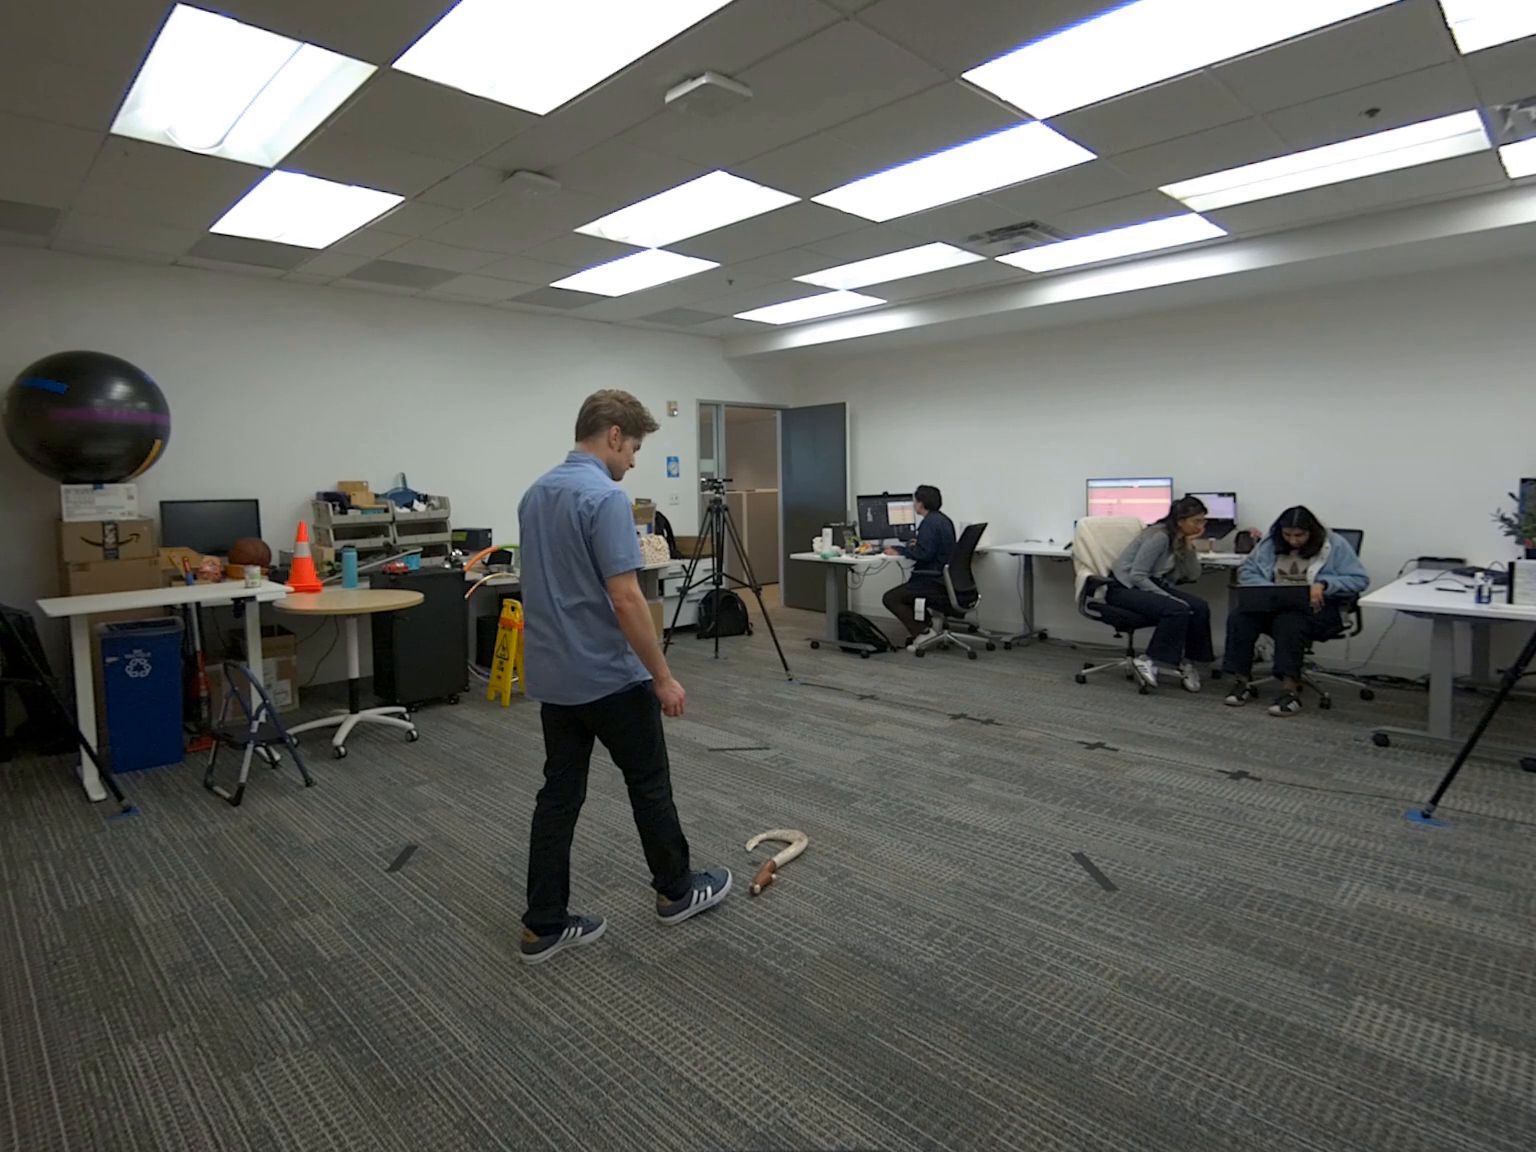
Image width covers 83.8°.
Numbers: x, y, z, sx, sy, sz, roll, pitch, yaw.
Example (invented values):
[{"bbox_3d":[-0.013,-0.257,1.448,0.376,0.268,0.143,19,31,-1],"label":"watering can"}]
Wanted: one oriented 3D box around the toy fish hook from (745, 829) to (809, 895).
[{"bbox_3d":[-0.008,1.031,3.101,0.228,0.048,0.498,-7,3,21],"label":"toy fish hook"}]
